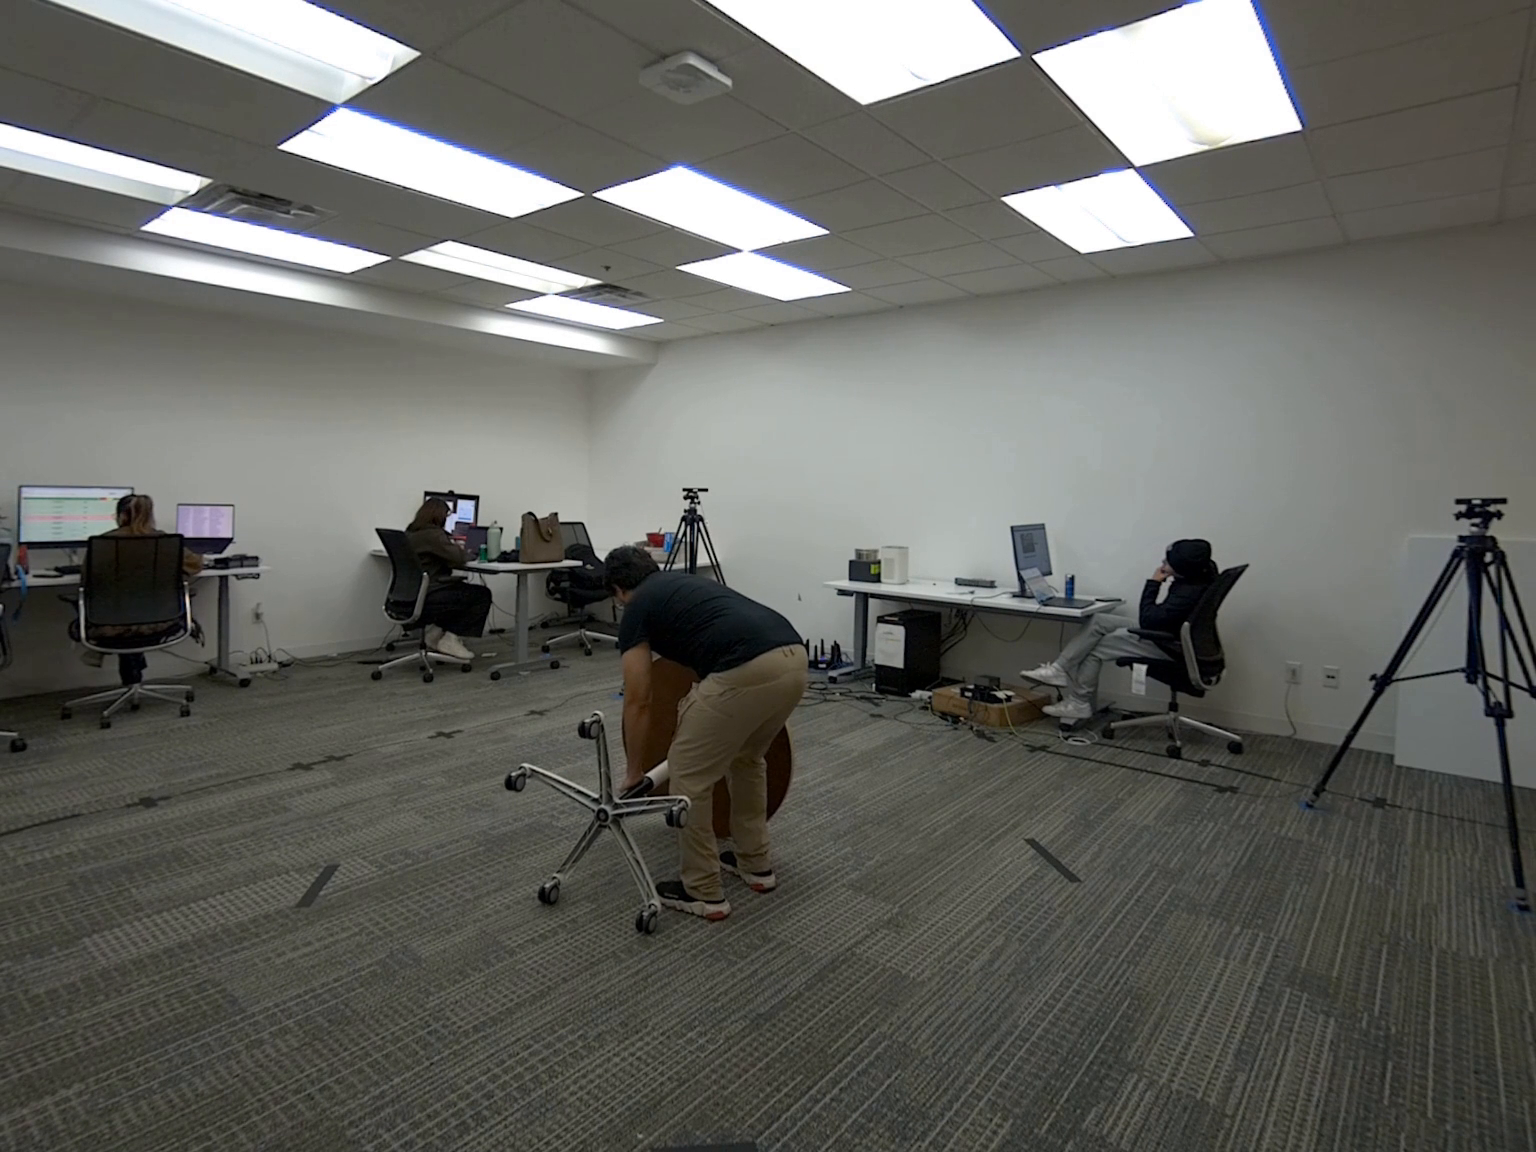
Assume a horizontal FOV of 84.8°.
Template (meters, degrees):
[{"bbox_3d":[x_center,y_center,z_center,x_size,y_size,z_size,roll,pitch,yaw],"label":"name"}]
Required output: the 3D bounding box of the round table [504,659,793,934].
[{"bbox_3d":[-0.420,0.713,3.040,0.806,0.780,0.772,3,9,26],"label":"round table"}]
